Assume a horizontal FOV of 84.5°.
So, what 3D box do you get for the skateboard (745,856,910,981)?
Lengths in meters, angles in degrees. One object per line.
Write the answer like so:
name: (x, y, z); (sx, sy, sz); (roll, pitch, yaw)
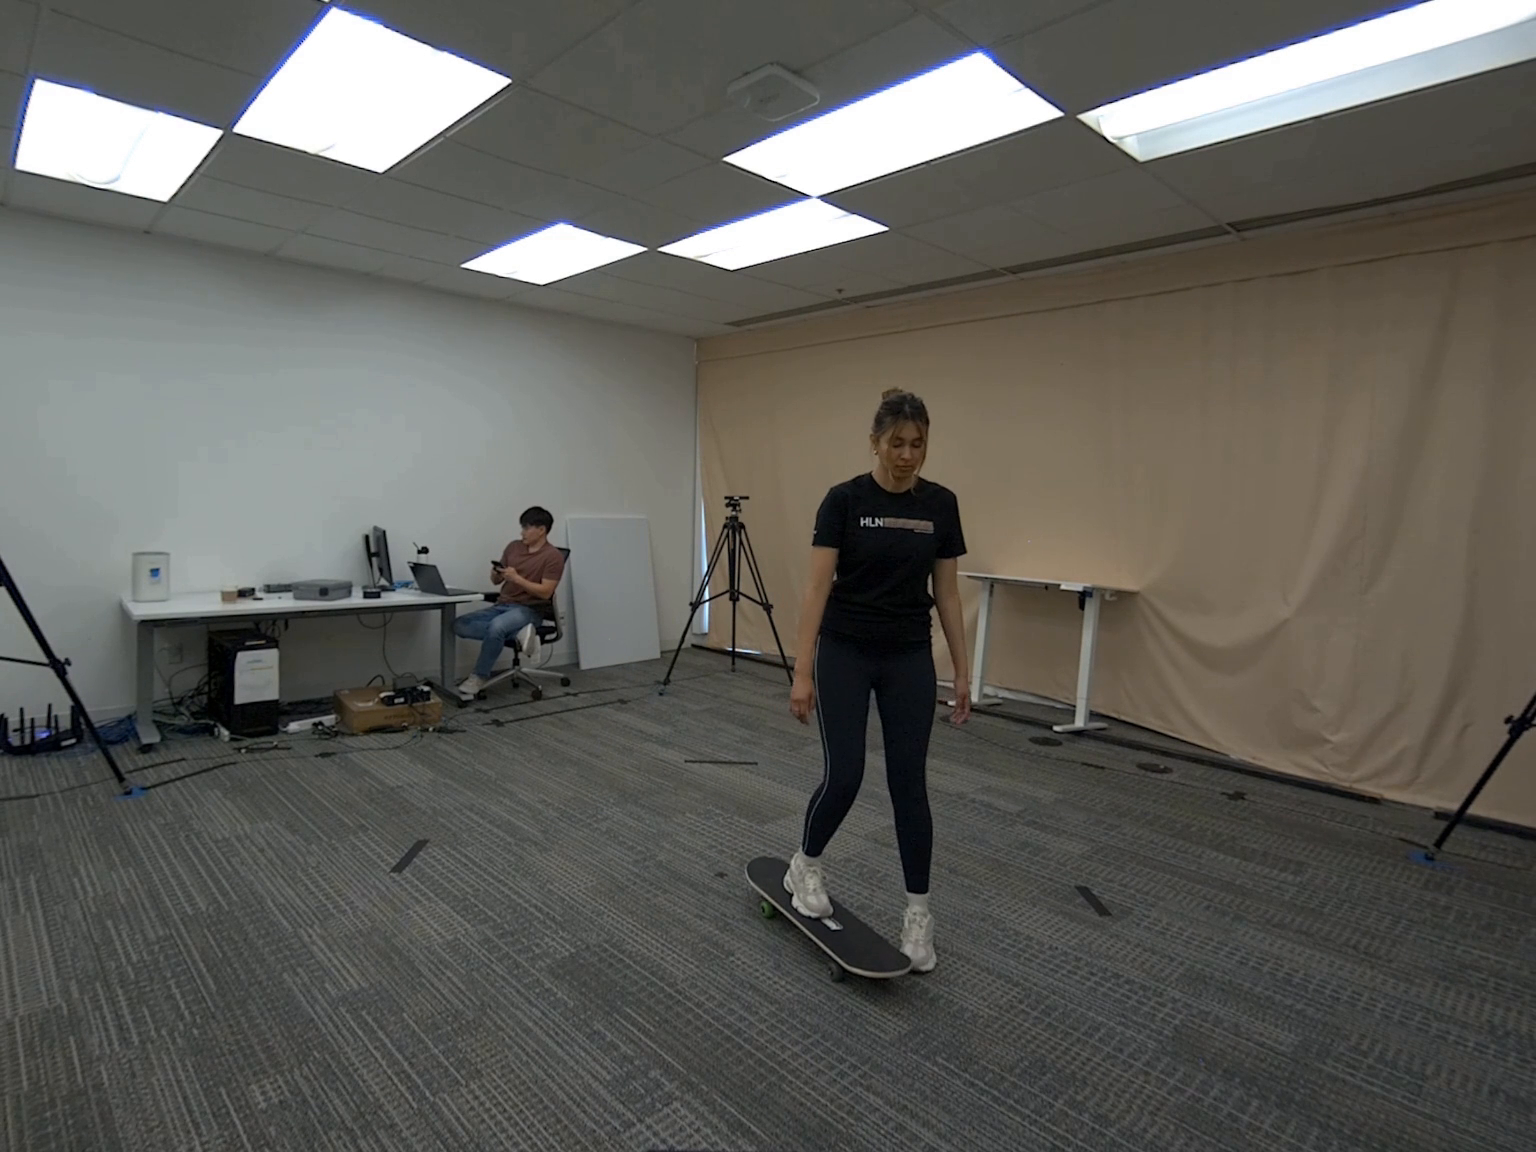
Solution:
skateboard: (0.161, 1.100, 2.651); (0.190, 0.110, 0.803); (-1, 6, -29)
